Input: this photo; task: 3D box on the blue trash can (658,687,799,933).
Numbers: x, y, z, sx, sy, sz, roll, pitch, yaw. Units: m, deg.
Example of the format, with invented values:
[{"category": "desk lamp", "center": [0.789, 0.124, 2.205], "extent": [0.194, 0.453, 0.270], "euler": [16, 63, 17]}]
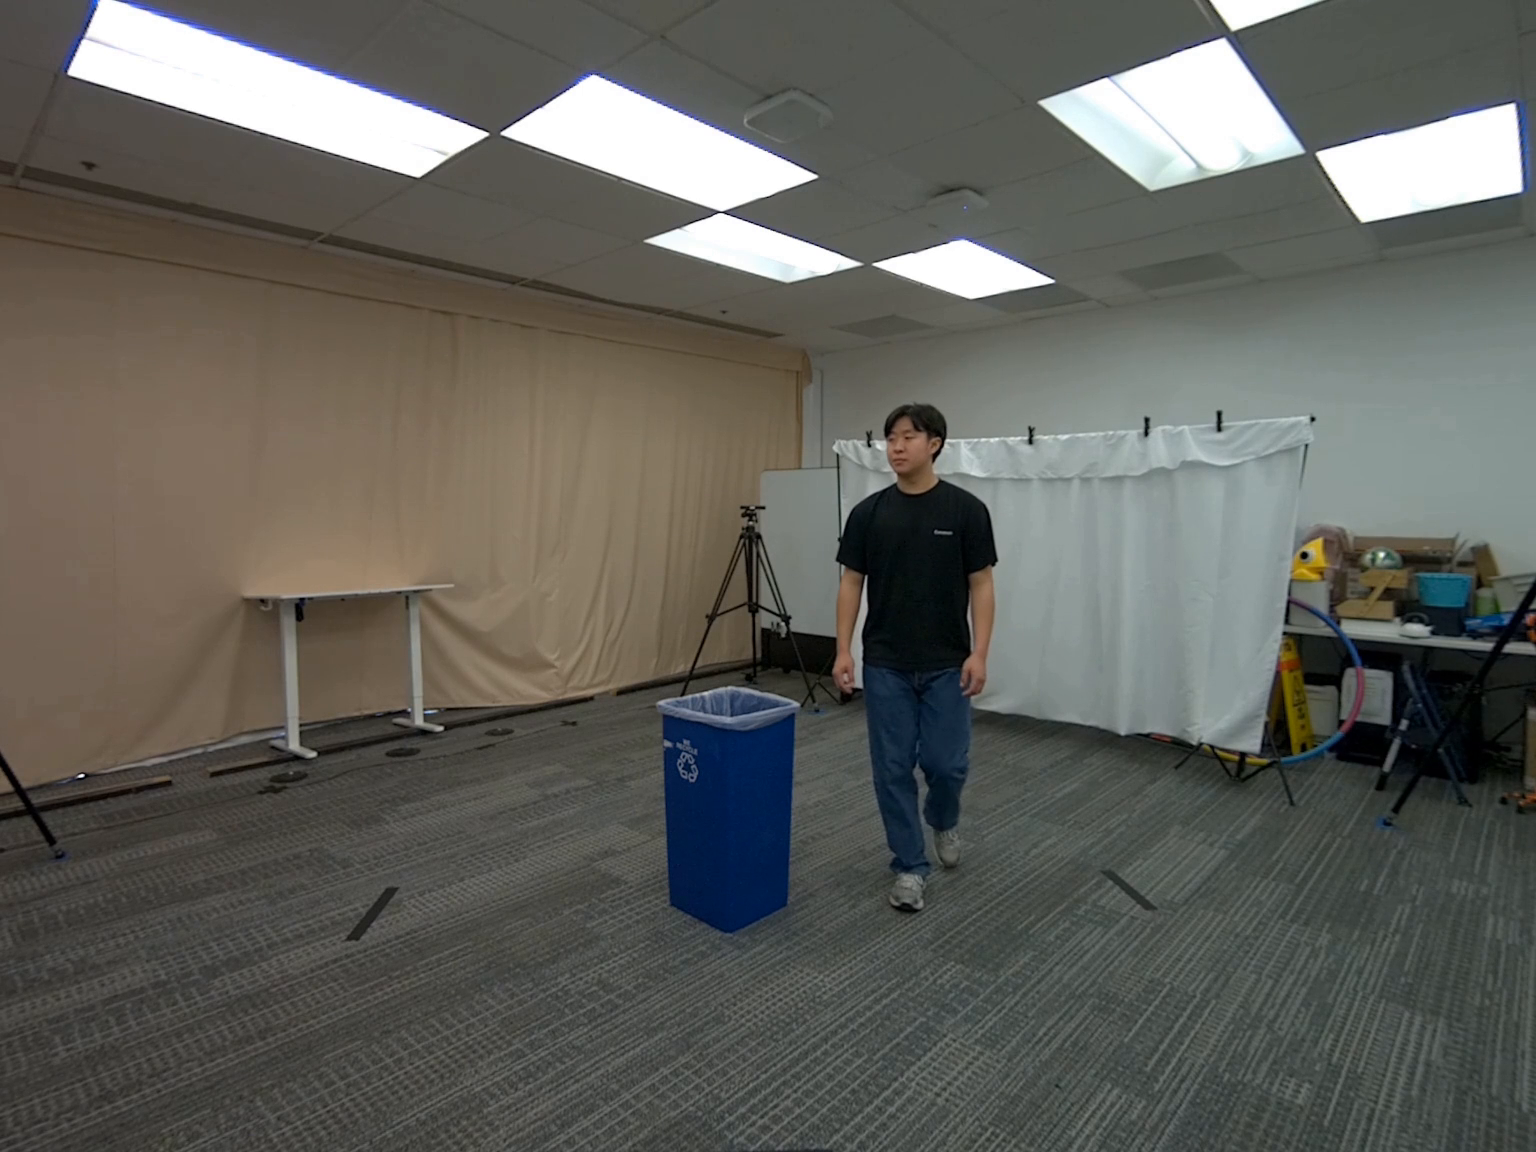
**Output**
[{"category": "blue trash can", "center": [-0.129, 0.792, 2.925], "extent": [0.386, 0.712, 0.366], "euler": [2, 4, 44]}]
